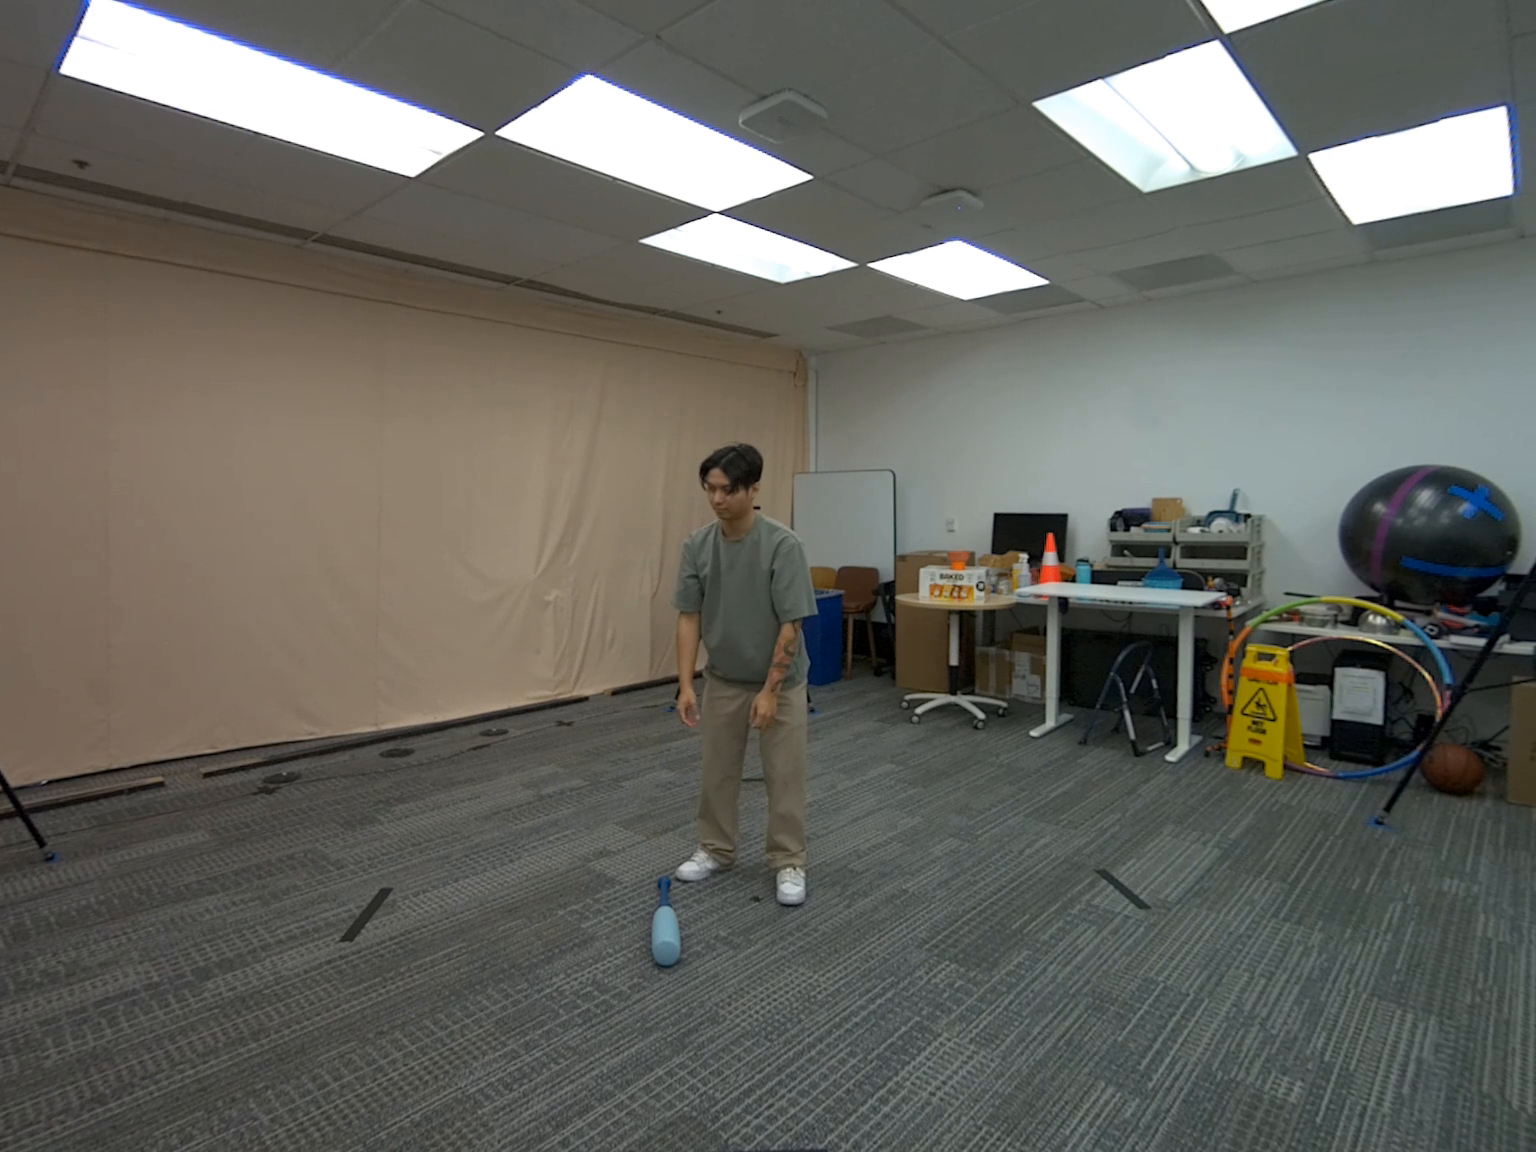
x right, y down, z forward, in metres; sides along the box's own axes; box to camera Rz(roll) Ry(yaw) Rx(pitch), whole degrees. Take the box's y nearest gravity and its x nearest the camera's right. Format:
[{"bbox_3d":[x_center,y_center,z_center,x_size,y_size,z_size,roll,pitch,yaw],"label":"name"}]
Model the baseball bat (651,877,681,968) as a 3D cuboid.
[{"bbox_3d":[-0.341,1.124,2.794,0.088,0.089,0.547,0,3,-7],"label":"baseball bat"}]
